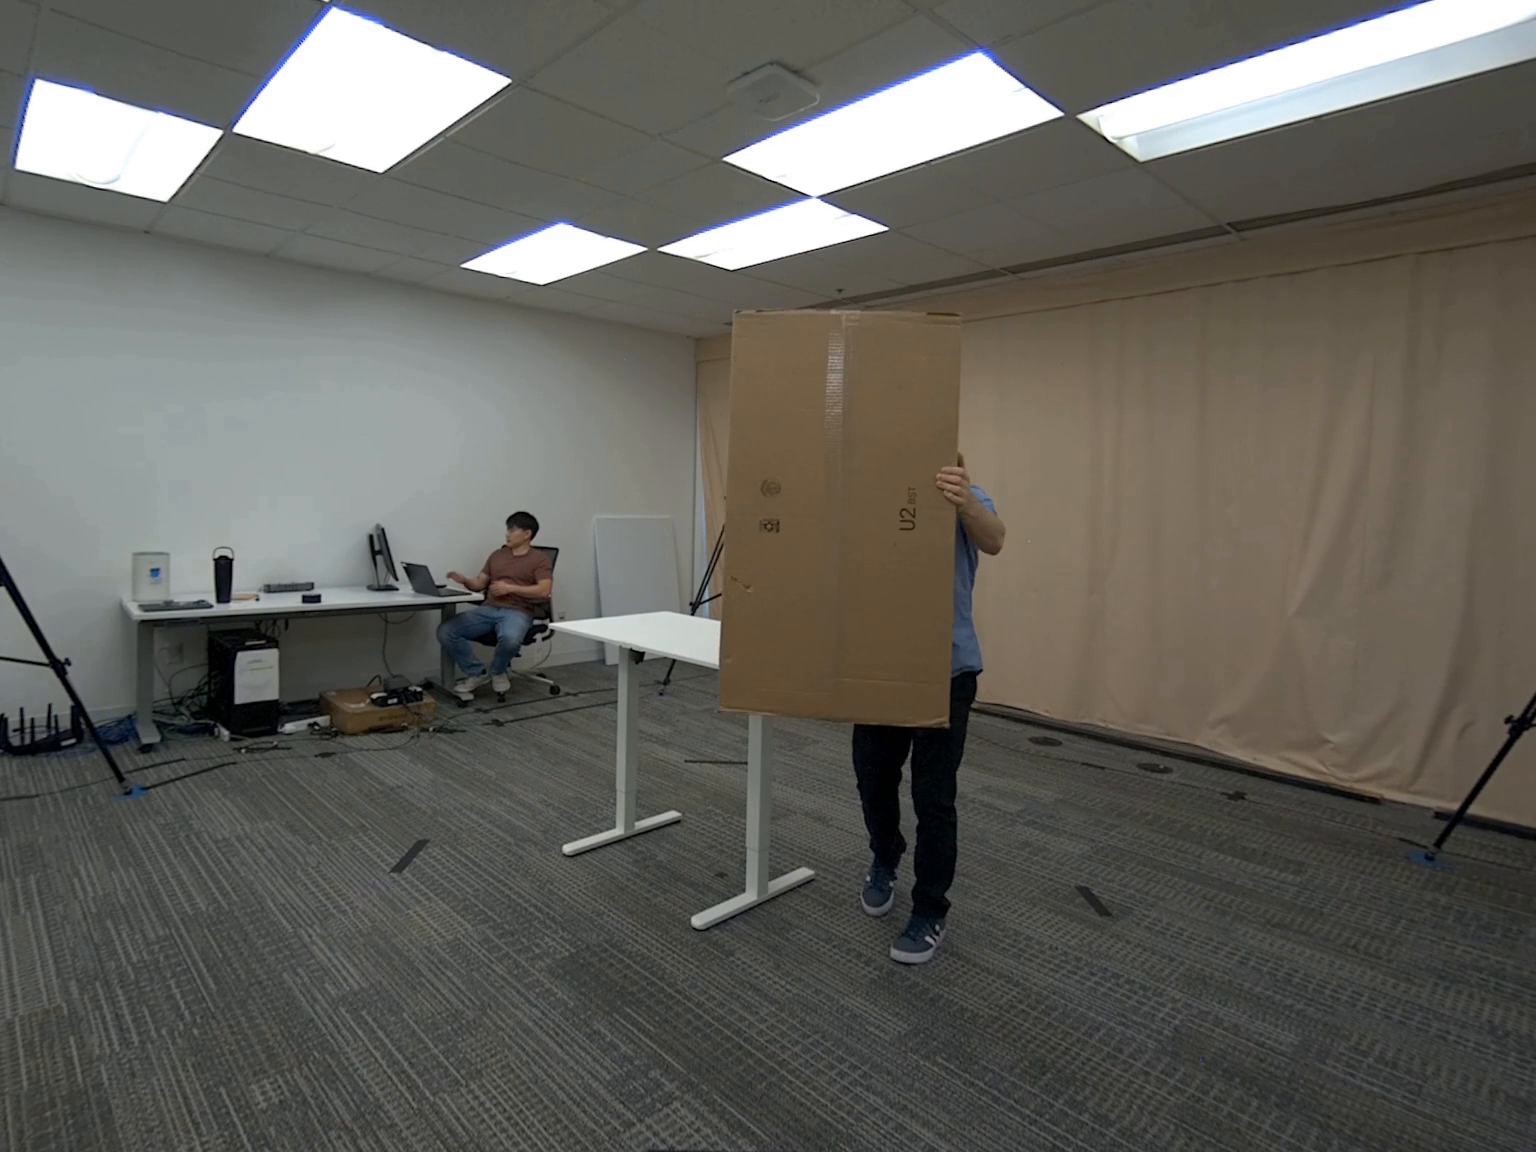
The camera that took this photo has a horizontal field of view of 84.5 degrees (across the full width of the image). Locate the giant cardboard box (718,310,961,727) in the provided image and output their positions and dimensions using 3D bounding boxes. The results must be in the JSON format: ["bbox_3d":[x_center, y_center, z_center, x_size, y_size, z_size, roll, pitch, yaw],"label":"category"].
[{"bbox_3d":[0.186,-0.154,2.289,0.581,1.027,0.423,3,-1,6],"label":"giant cardboard box"}]
